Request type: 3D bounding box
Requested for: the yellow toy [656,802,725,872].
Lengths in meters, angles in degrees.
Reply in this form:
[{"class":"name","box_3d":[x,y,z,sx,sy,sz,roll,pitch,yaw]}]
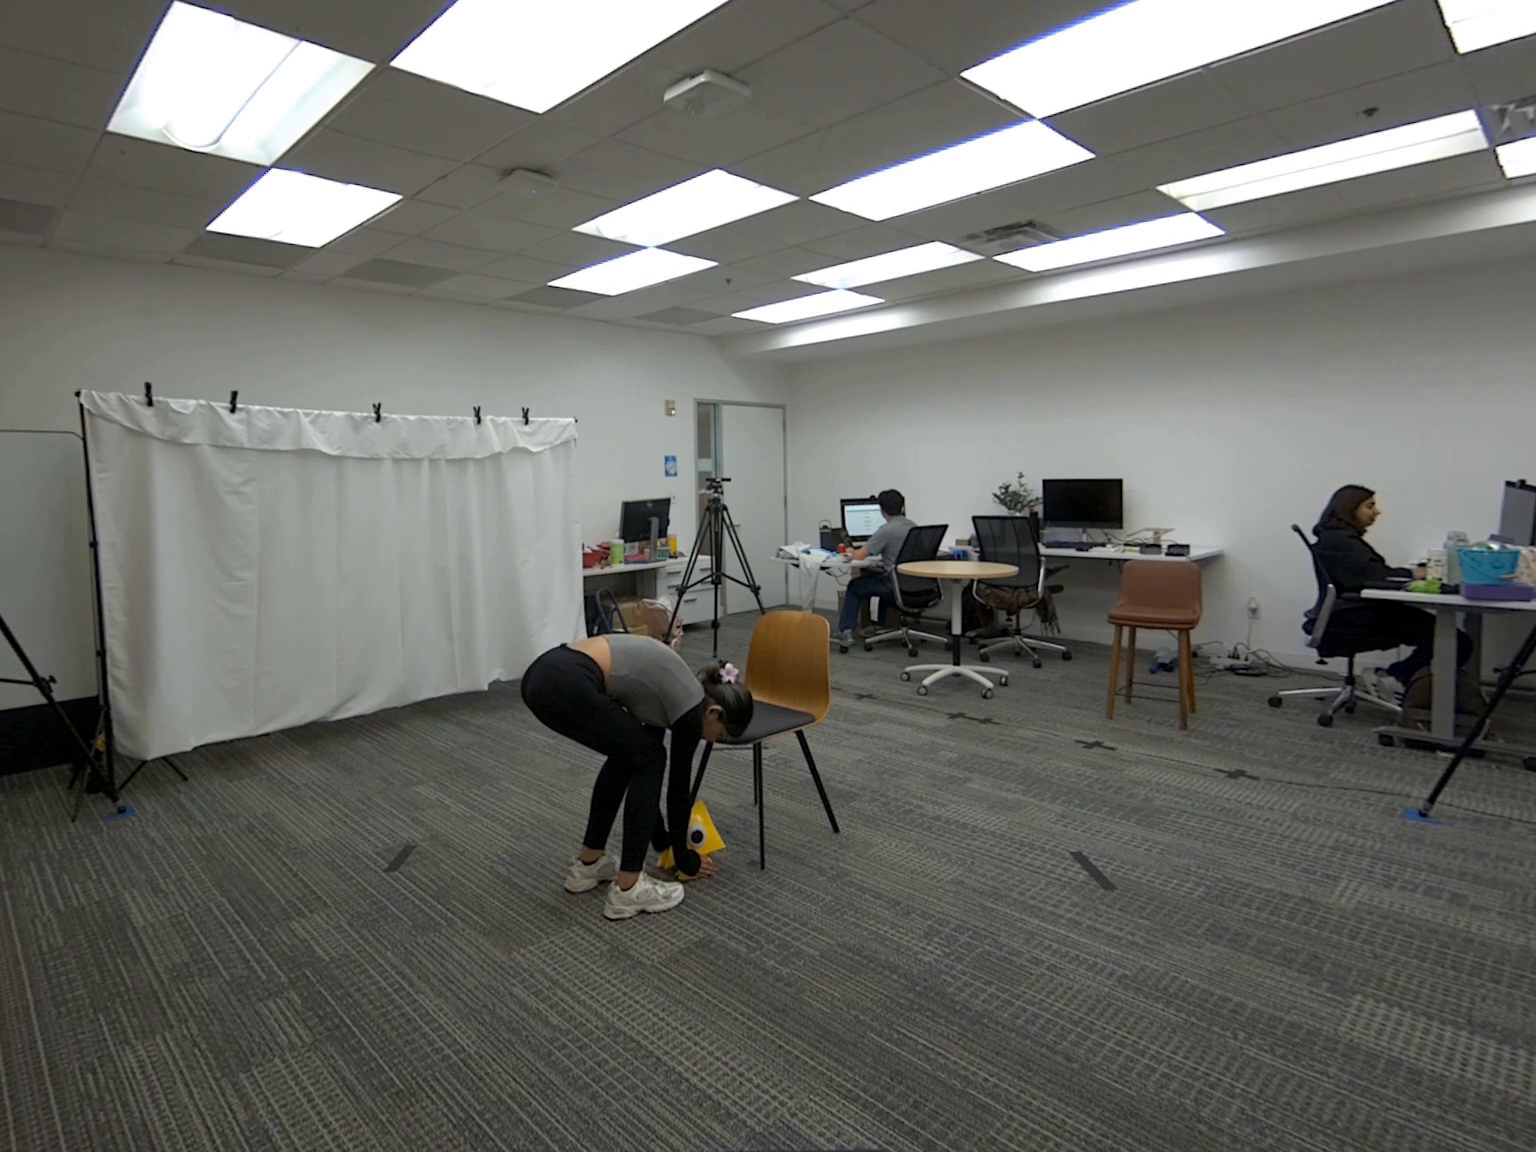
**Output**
[{"class":"yellow toy","box_3d":[-0.281,0.938,3.082,0.187,0.230,0.211,-1,4,-43]}]
